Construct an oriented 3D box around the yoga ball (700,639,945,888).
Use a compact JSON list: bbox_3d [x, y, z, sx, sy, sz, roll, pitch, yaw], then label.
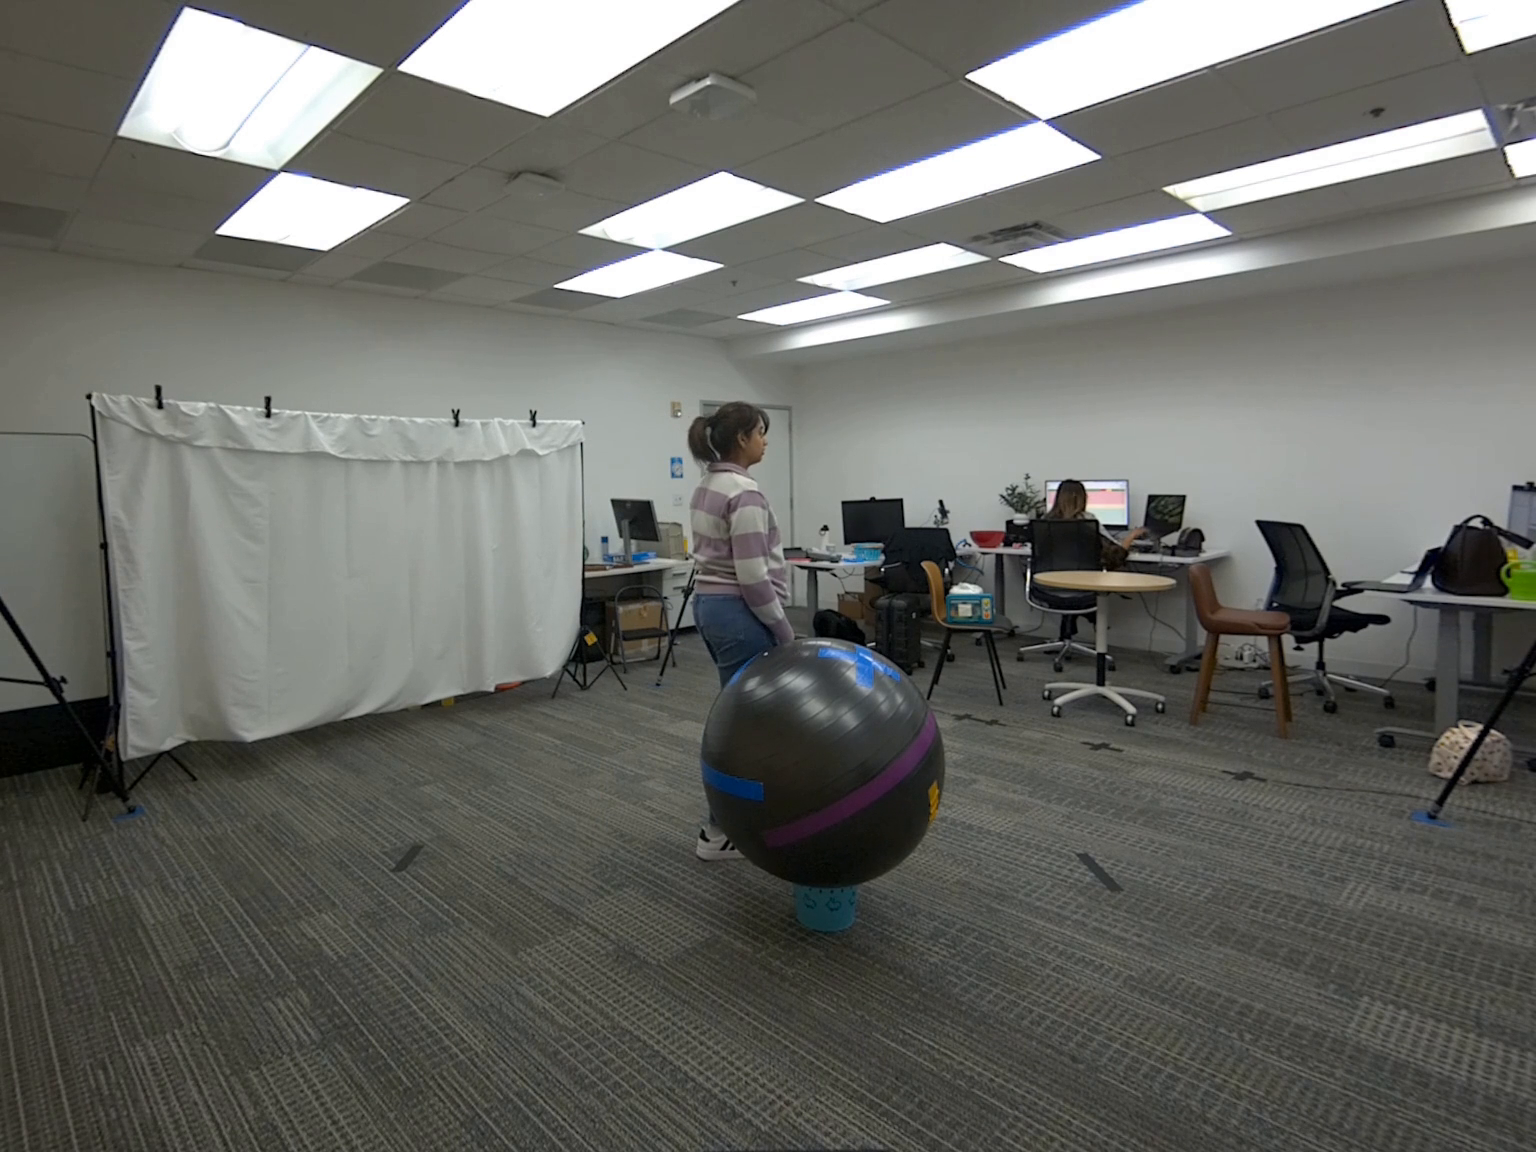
[{"bbox_3d":[0.171,0.585,2.679,0.757,0.755,0.762,-1,5,-2],"label":"yoga ball"}]
